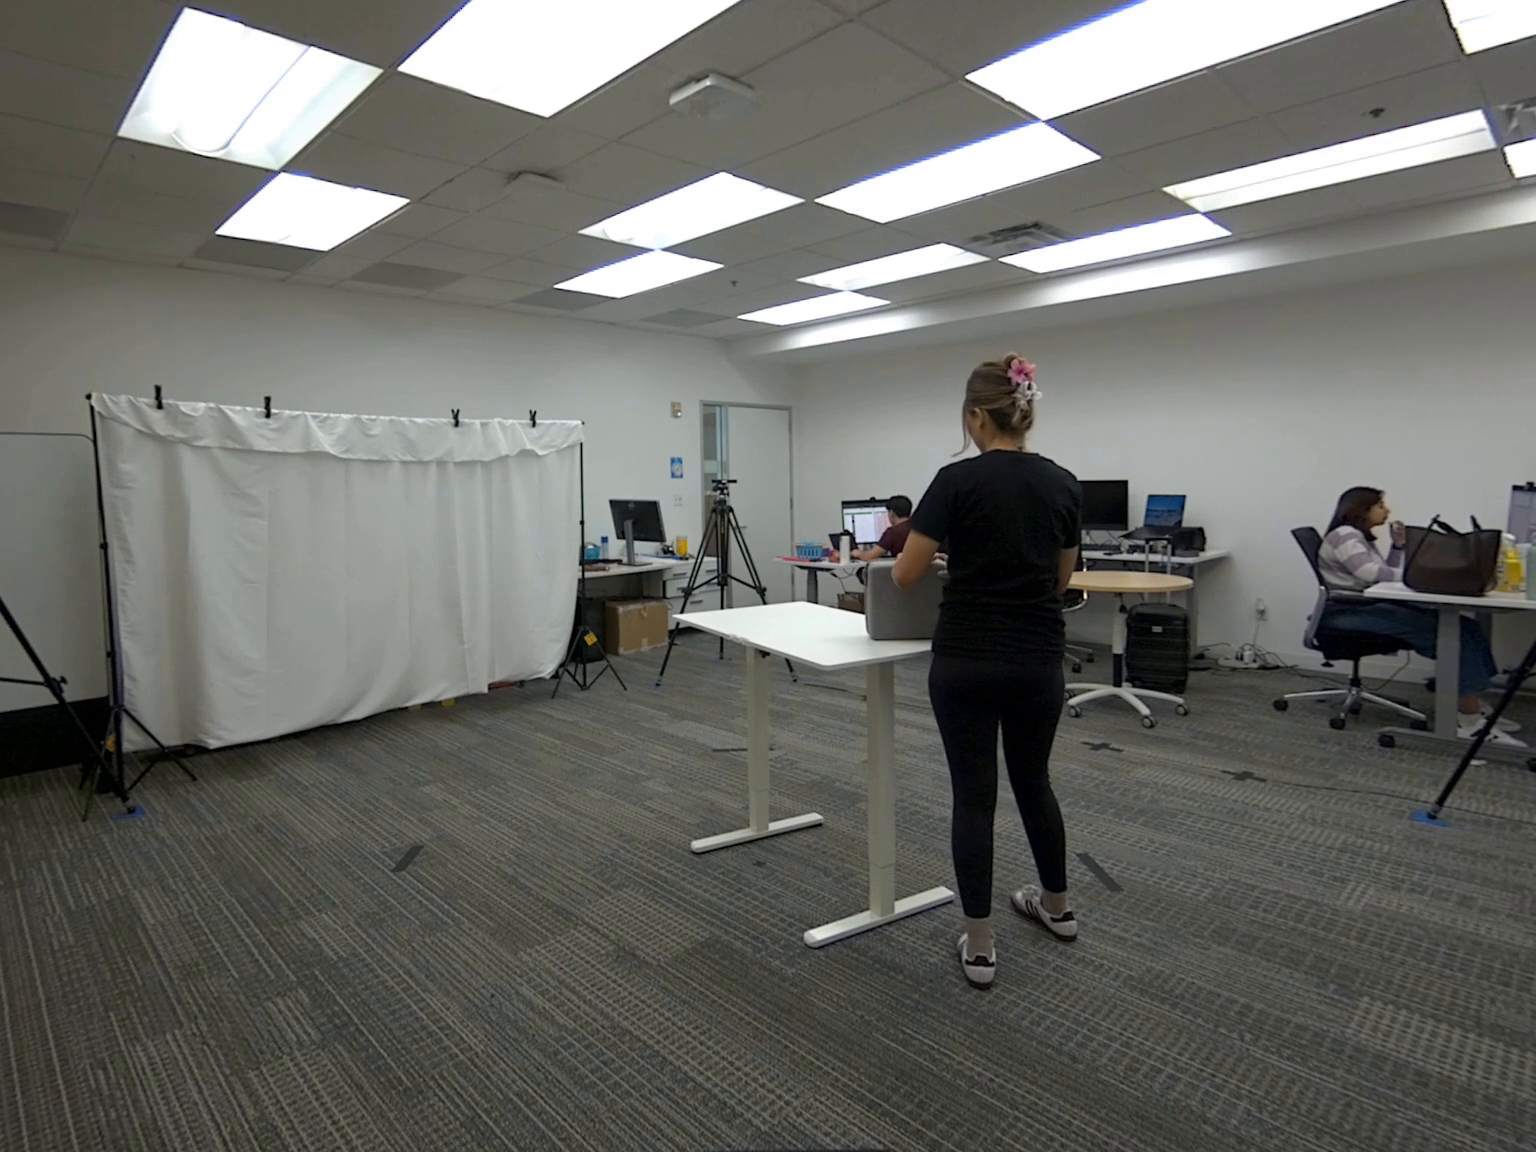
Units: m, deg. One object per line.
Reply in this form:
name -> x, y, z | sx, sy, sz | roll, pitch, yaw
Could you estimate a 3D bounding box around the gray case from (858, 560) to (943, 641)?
gray case -> 0.452, 0.075, 2.725 | 0.261, 0.255, 0.105 | -1, 8, 2
